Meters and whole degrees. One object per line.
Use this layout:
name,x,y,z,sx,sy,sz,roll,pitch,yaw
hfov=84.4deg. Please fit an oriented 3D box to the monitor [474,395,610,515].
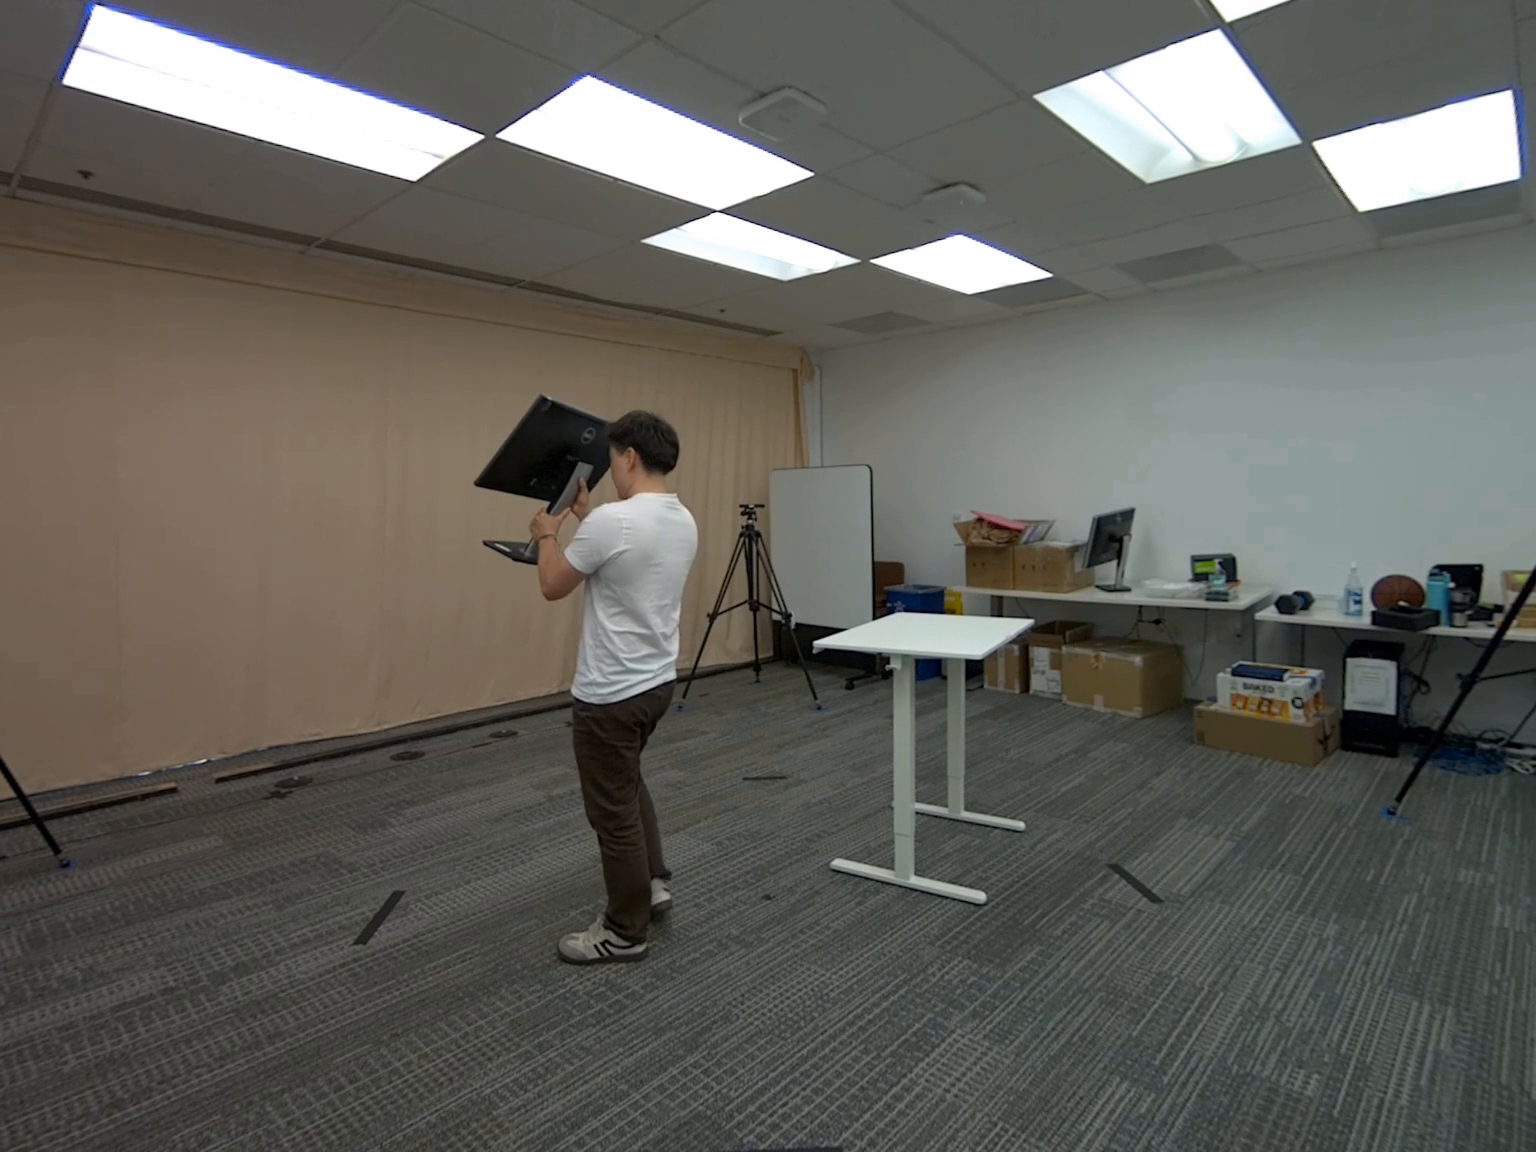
monitor,-0.683,-0.295,2.736,0.192,0.522,0.526,31,8,19
